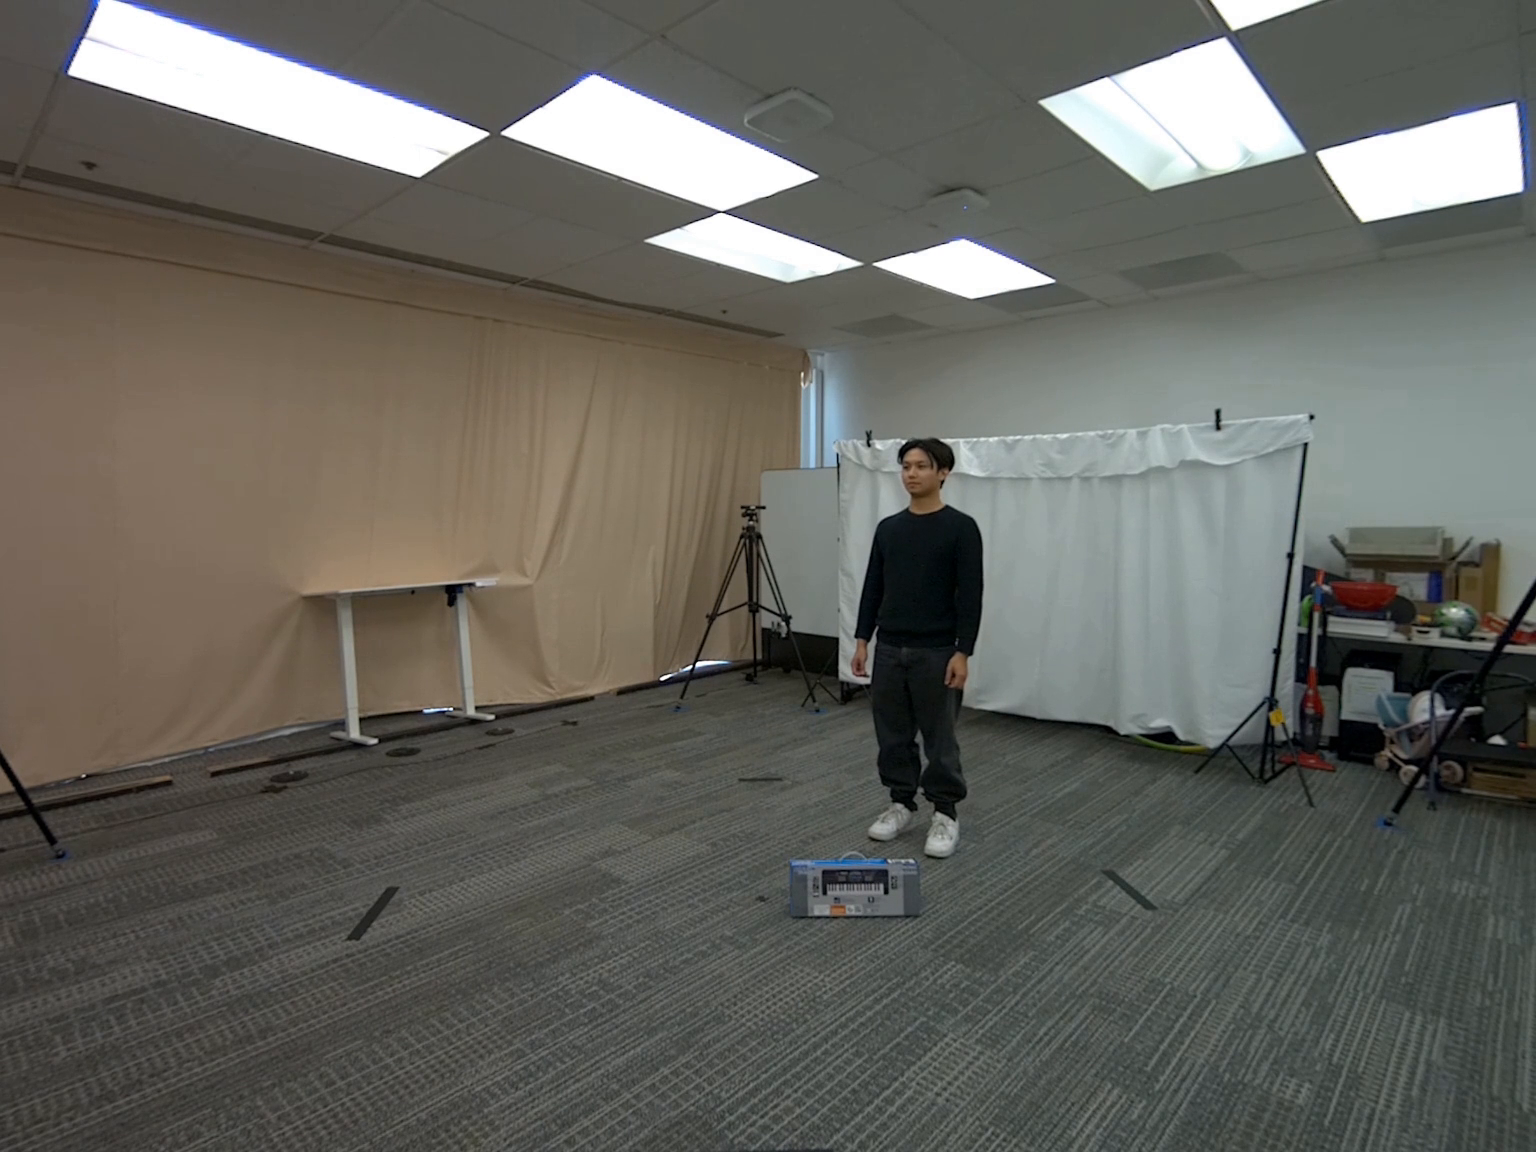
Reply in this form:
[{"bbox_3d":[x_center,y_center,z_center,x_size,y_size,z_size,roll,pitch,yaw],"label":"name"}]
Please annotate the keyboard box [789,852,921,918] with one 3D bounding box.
[{"bbox_3d":[0.299,1.064,2.870,0.437,0.176,0.059,-1,-3,0],"label":"keyboard box"}]
